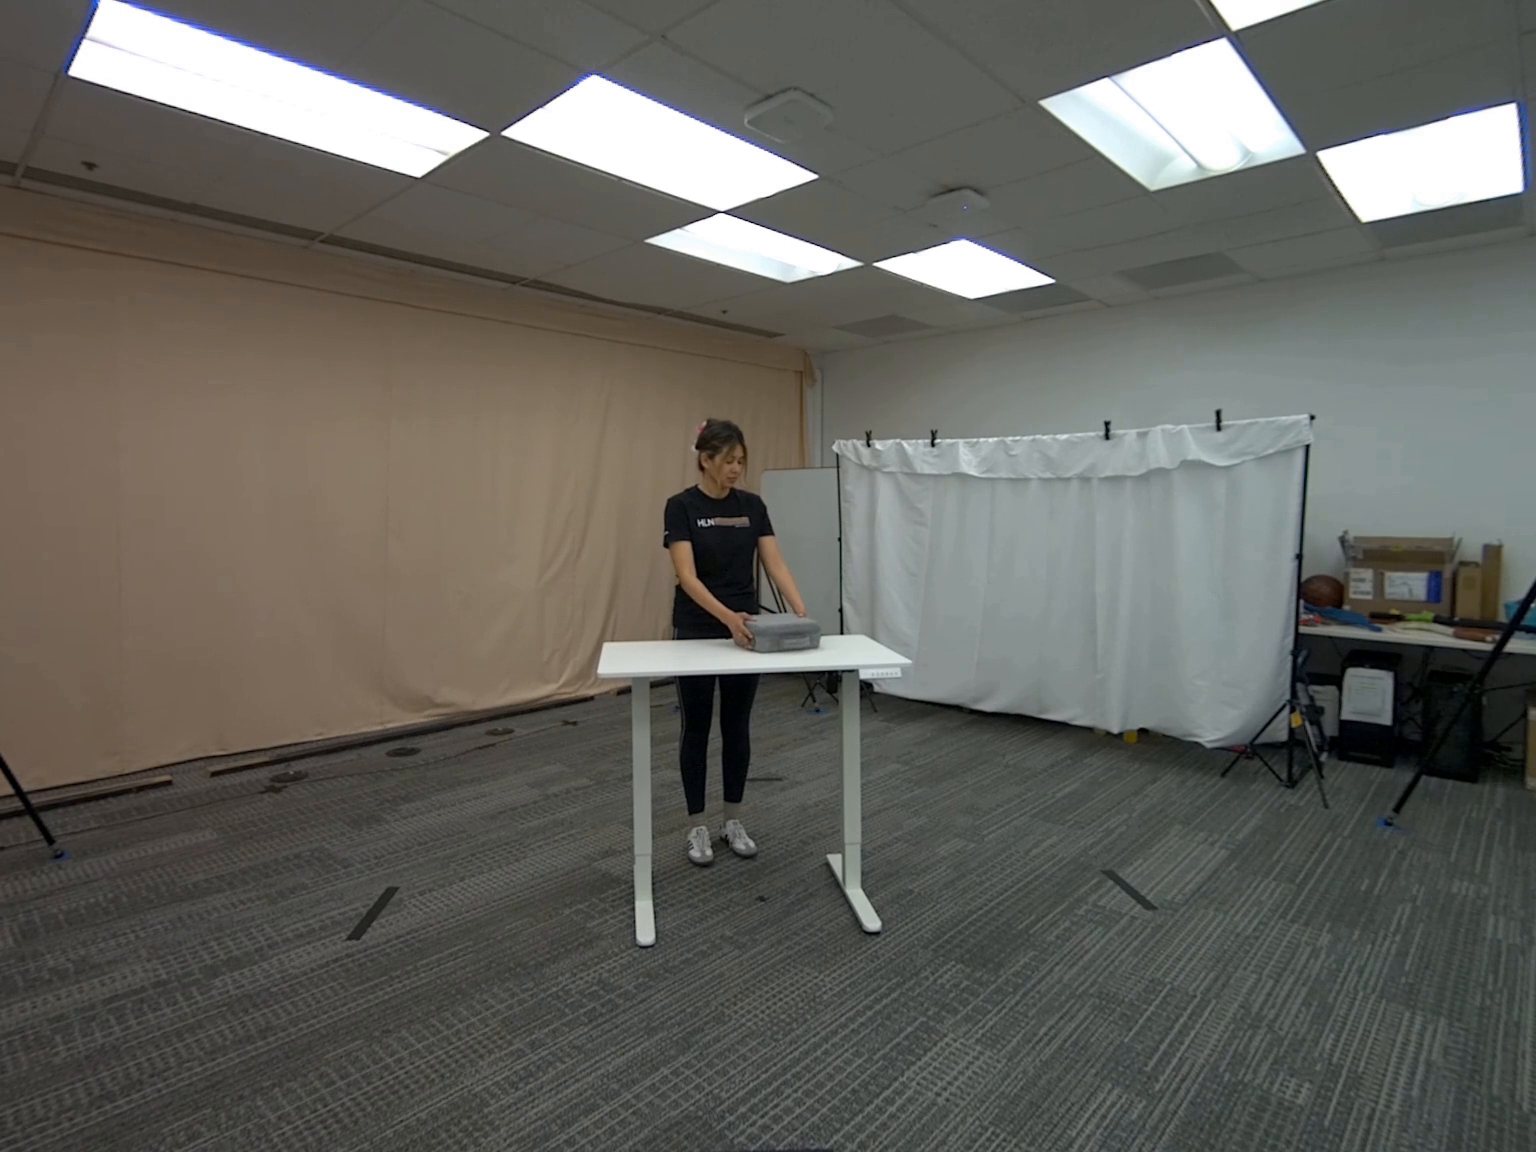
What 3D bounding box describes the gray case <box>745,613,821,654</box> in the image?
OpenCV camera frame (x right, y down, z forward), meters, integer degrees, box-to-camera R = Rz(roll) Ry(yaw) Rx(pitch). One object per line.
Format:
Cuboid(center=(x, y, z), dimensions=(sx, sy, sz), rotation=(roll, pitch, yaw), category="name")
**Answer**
Cuboid(center=(0.039, 0.208, 3.031), dimensions=(0.251, 0.104, 0.267), rotation=(-2, 6, -23), category="gray case")
